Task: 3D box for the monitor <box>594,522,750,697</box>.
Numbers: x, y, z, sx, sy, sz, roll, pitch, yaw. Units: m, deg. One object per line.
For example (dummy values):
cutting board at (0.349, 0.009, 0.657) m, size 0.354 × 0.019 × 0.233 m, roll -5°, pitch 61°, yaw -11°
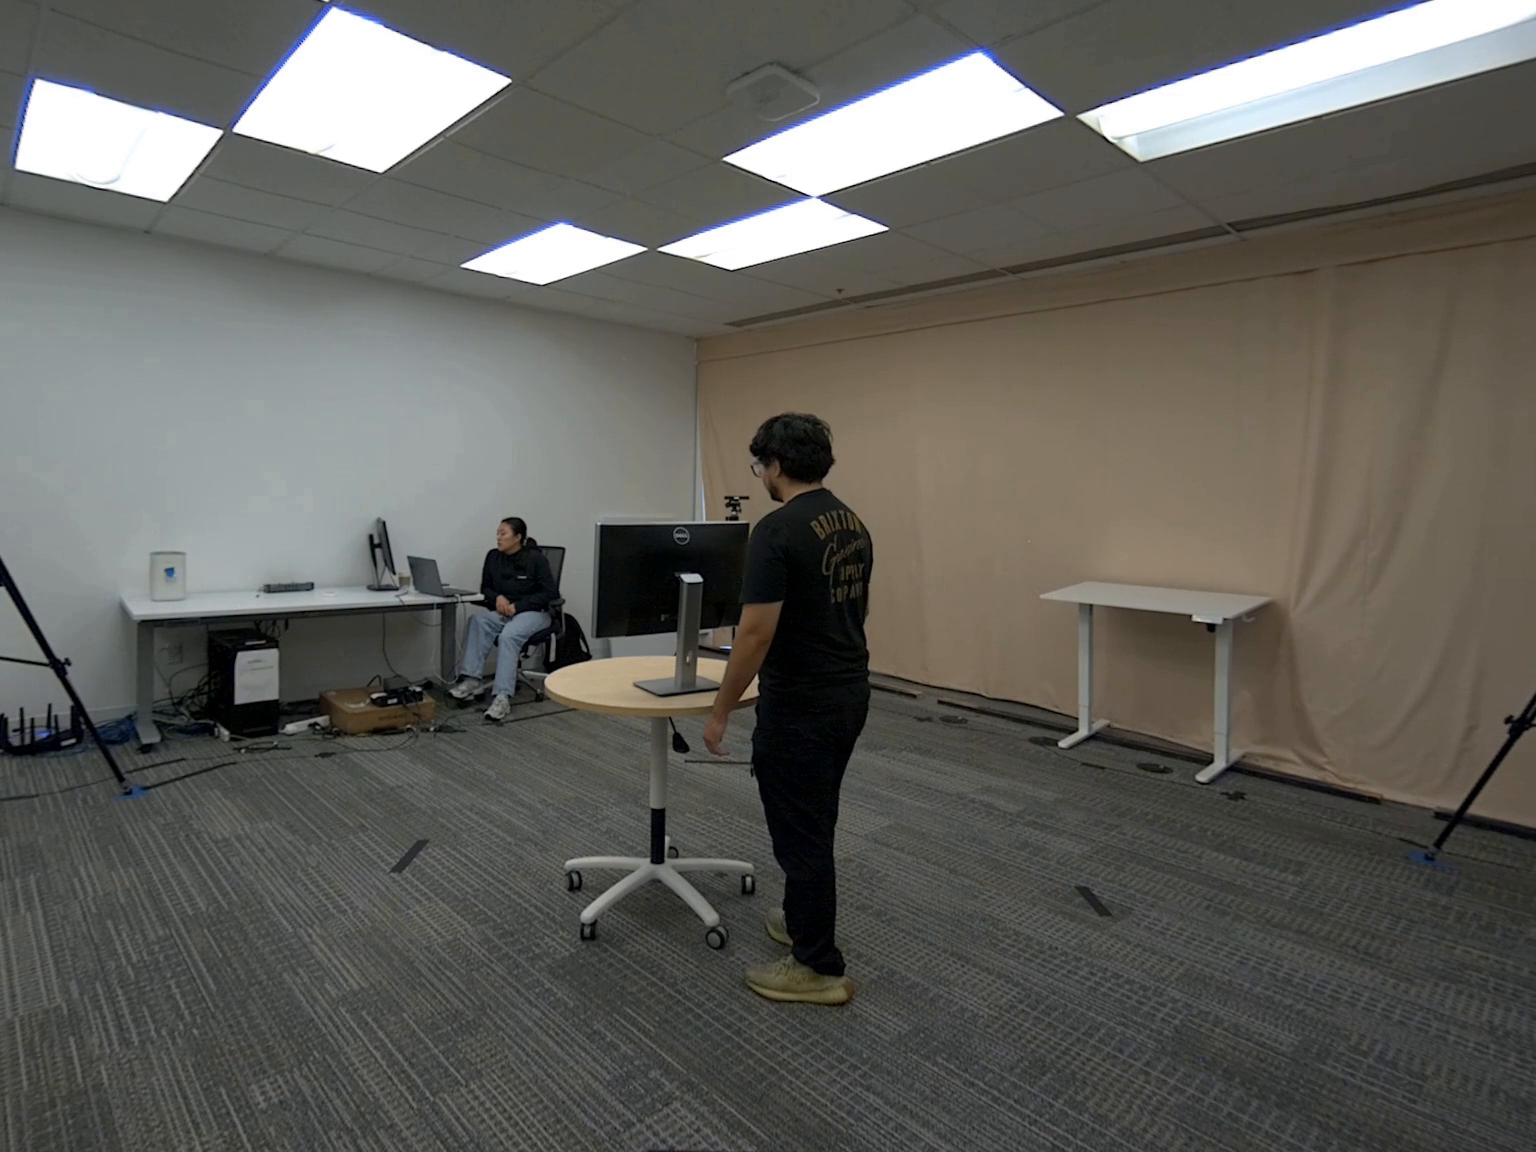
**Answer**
monitor at (-0.277, 0.102, 2.686) m, size 0.553 × 0.551 × 0.215 m, roll -2°, pitch 7°, yaw -34°
